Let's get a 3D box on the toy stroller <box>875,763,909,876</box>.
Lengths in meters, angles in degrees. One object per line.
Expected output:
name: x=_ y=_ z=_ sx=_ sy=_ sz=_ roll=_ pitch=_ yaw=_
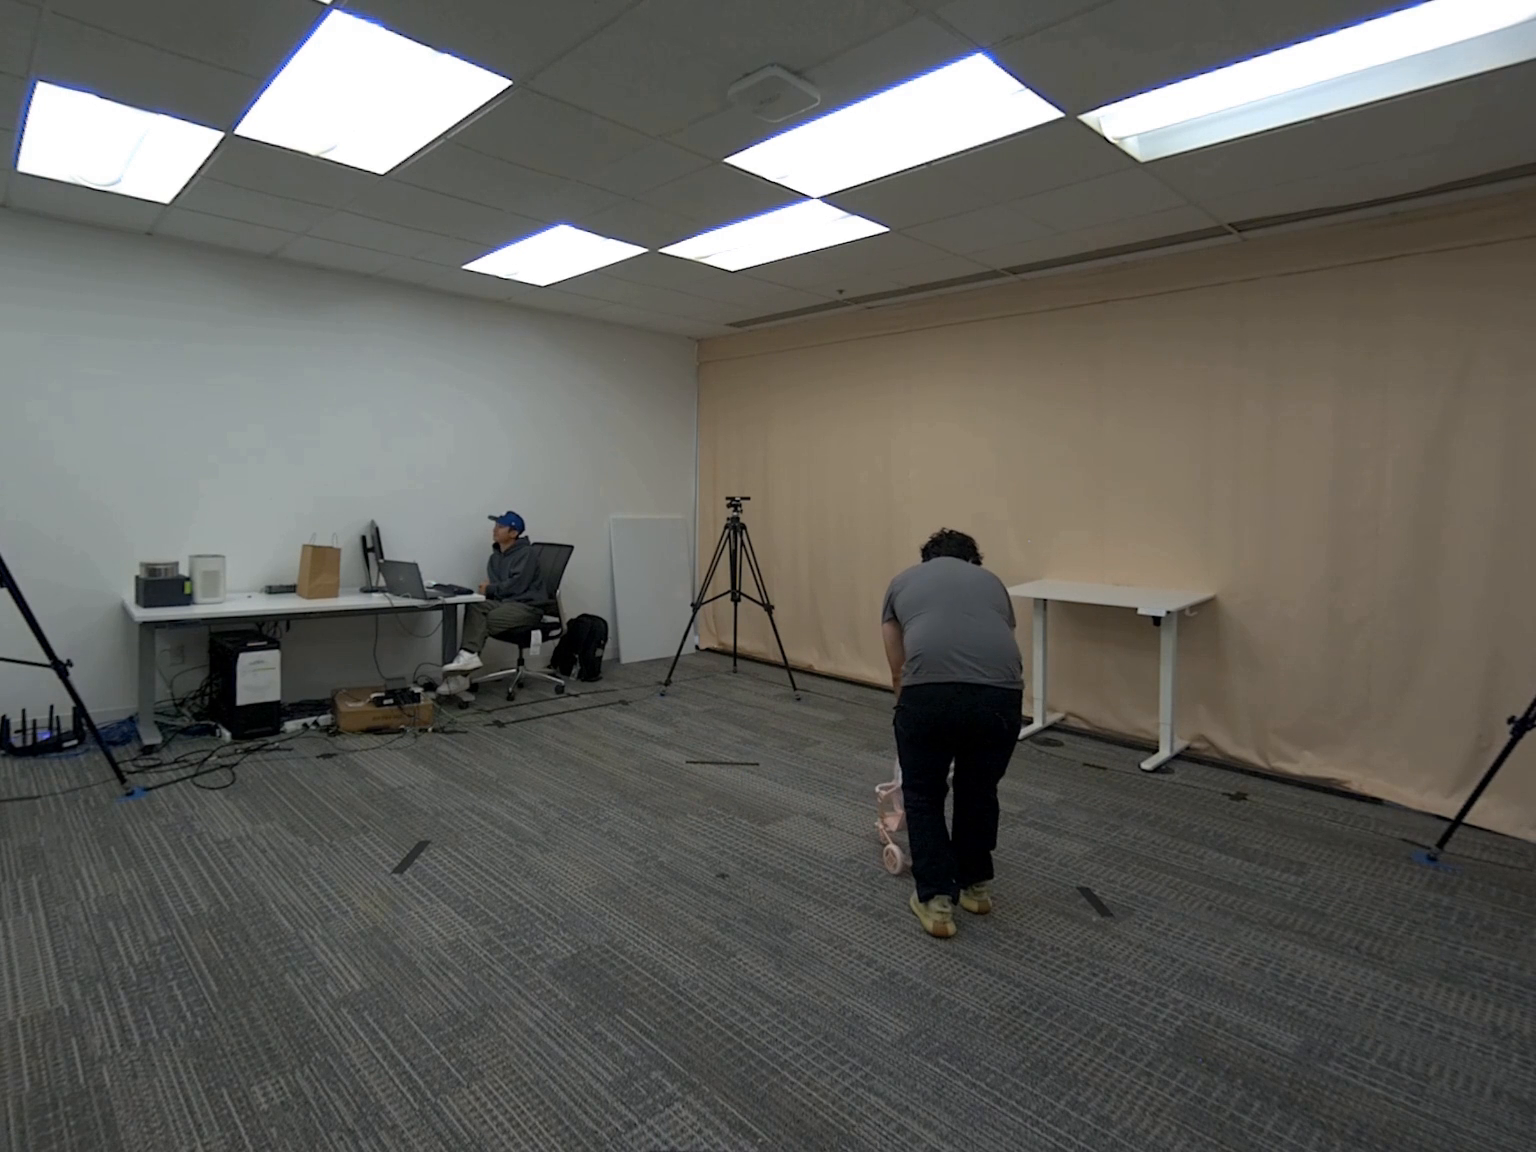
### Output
toy stroller: x=0.557 y=0.882 z=3.255 sx=0.277 sy=0.530 sz=0.350 roll=1 pitch=17 yaw=-20
